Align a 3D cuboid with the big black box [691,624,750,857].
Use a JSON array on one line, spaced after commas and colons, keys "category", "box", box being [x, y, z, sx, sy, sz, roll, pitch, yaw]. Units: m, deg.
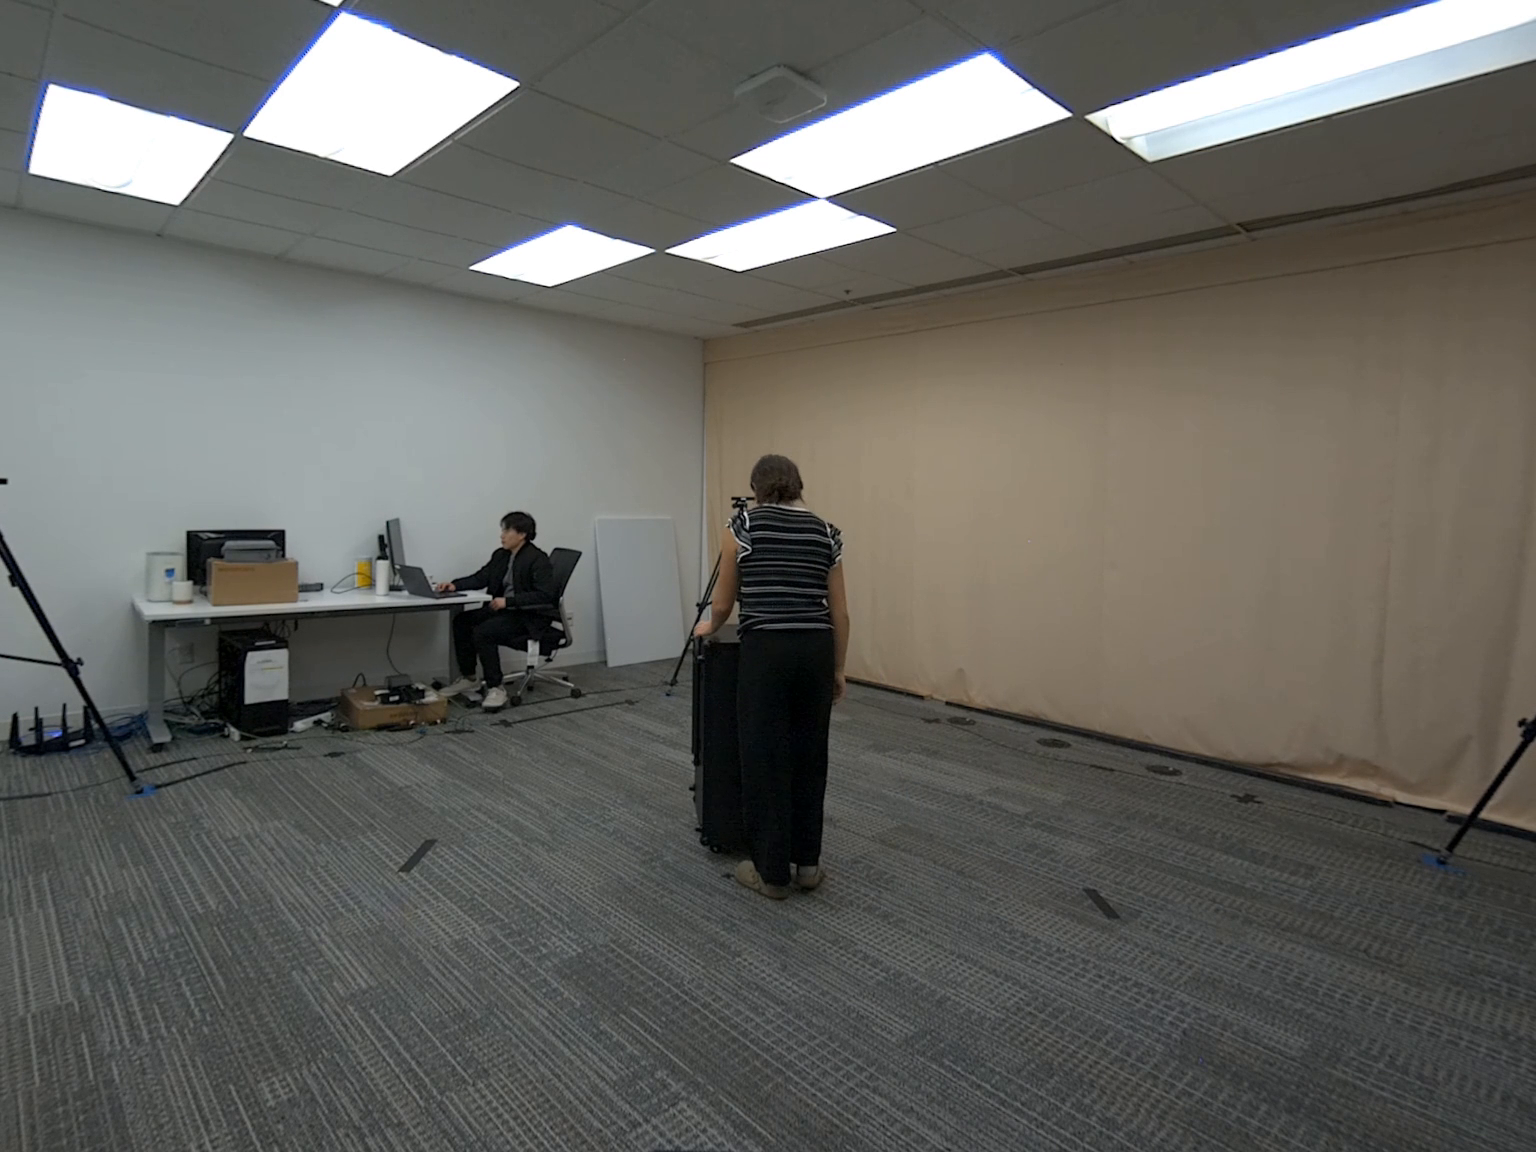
[{"category": "big black box", "box": [-0.124, 0.655, 3.431, 0.394, 0.859, 0.525, 0, 3, -7]}]
